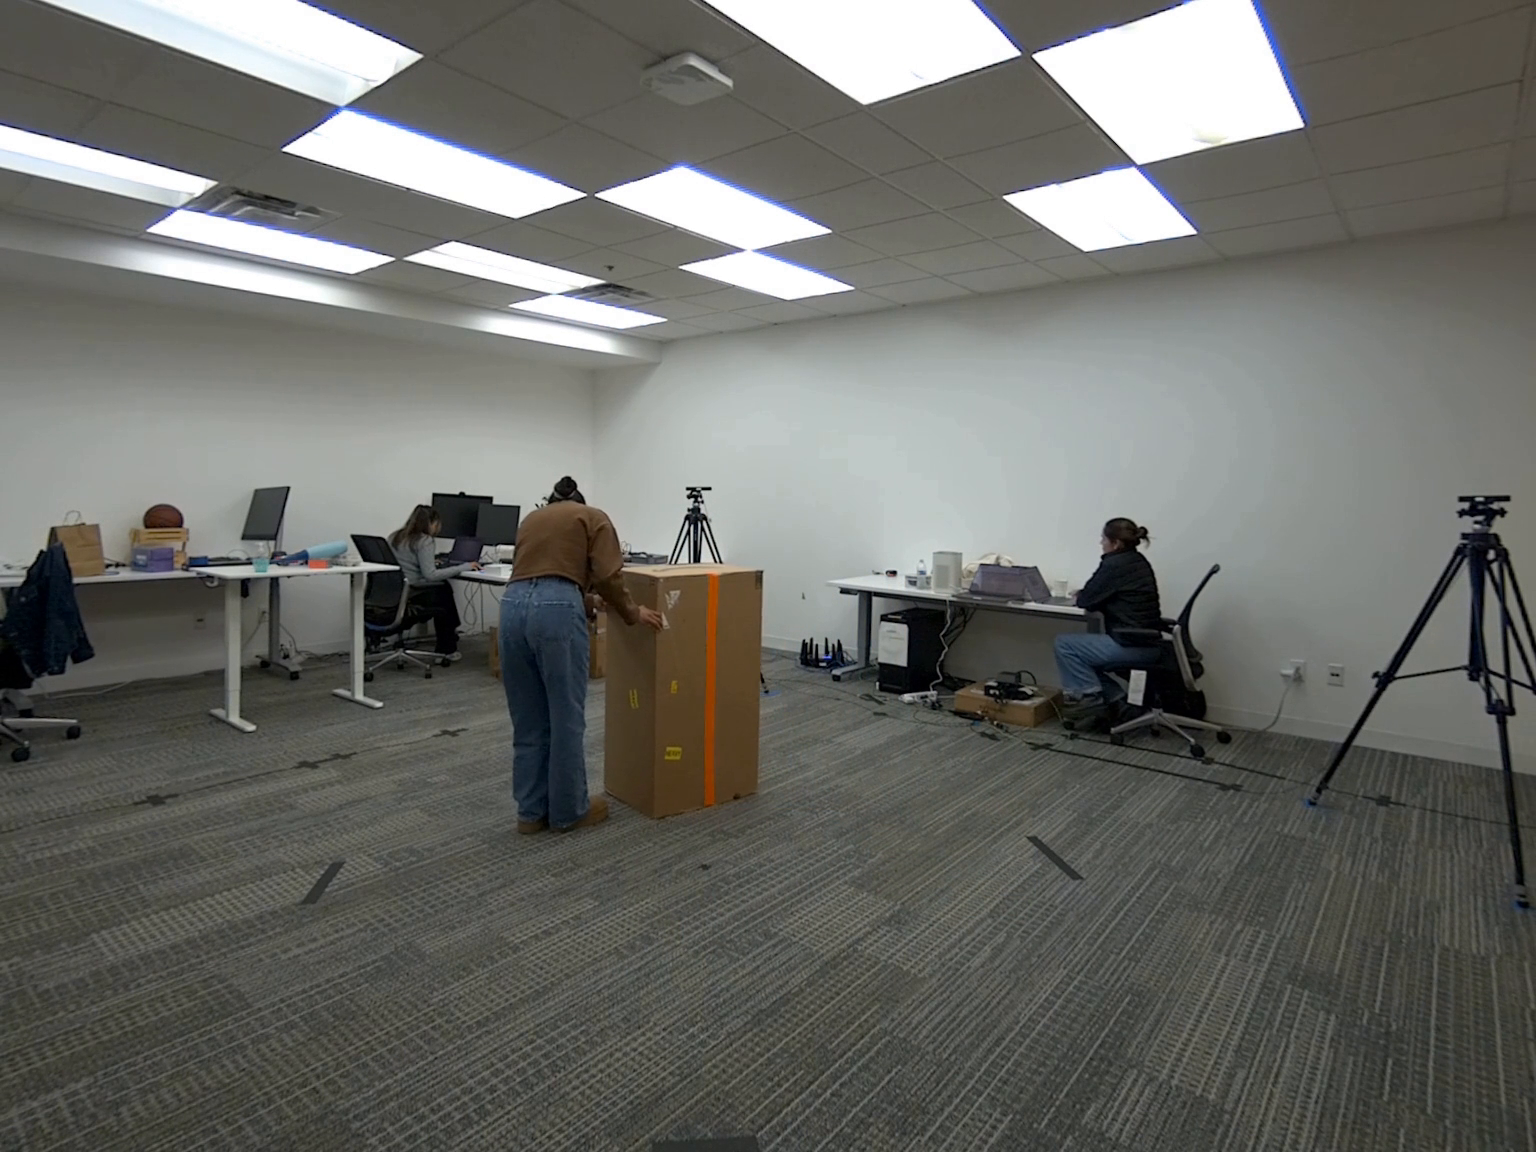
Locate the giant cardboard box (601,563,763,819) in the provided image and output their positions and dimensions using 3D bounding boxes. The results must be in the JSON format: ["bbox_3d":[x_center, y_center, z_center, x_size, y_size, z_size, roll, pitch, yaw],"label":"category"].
[{"bbox_3d":[-0.395,0.479,3.868,0.560,1.023,0.440,-2,4,-39],"label":"giant cardboard box"}]
